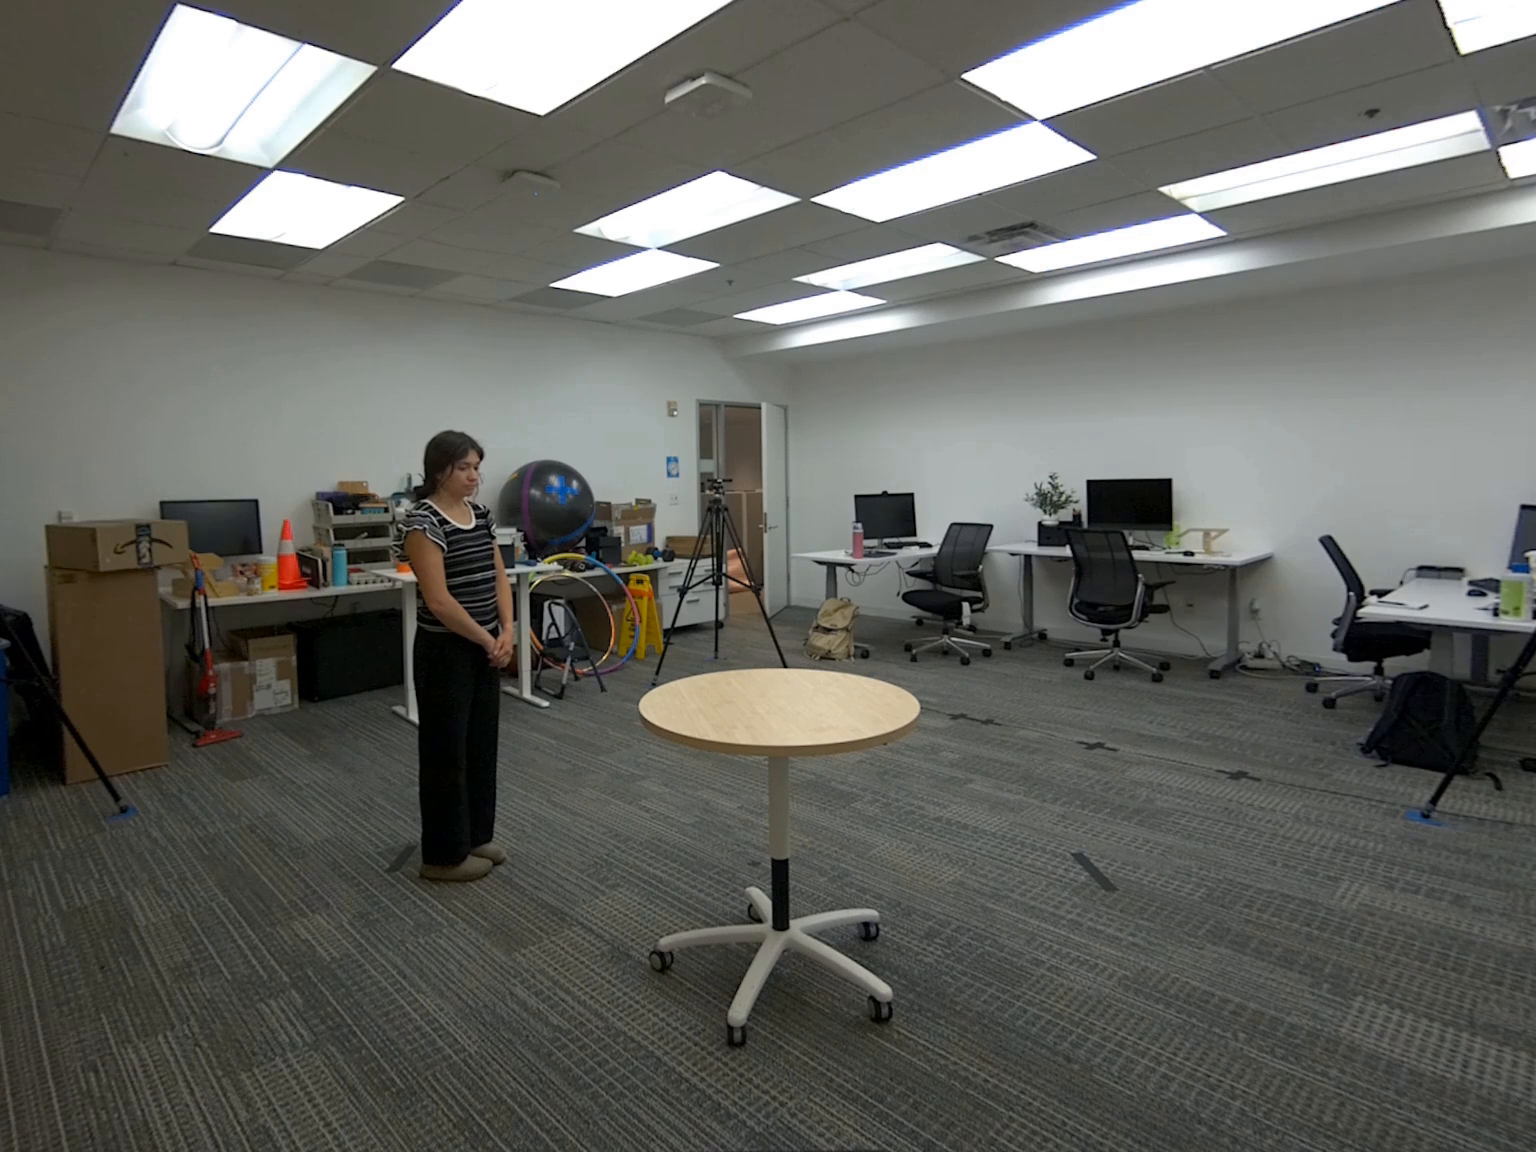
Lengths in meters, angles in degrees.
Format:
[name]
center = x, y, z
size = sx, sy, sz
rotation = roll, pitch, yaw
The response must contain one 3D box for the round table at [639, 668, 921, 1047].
[round table]
center = 0.045, 0.740, 2.380
size = 0.763, 0.790, 0.768
rotation = -1, 6, -2
